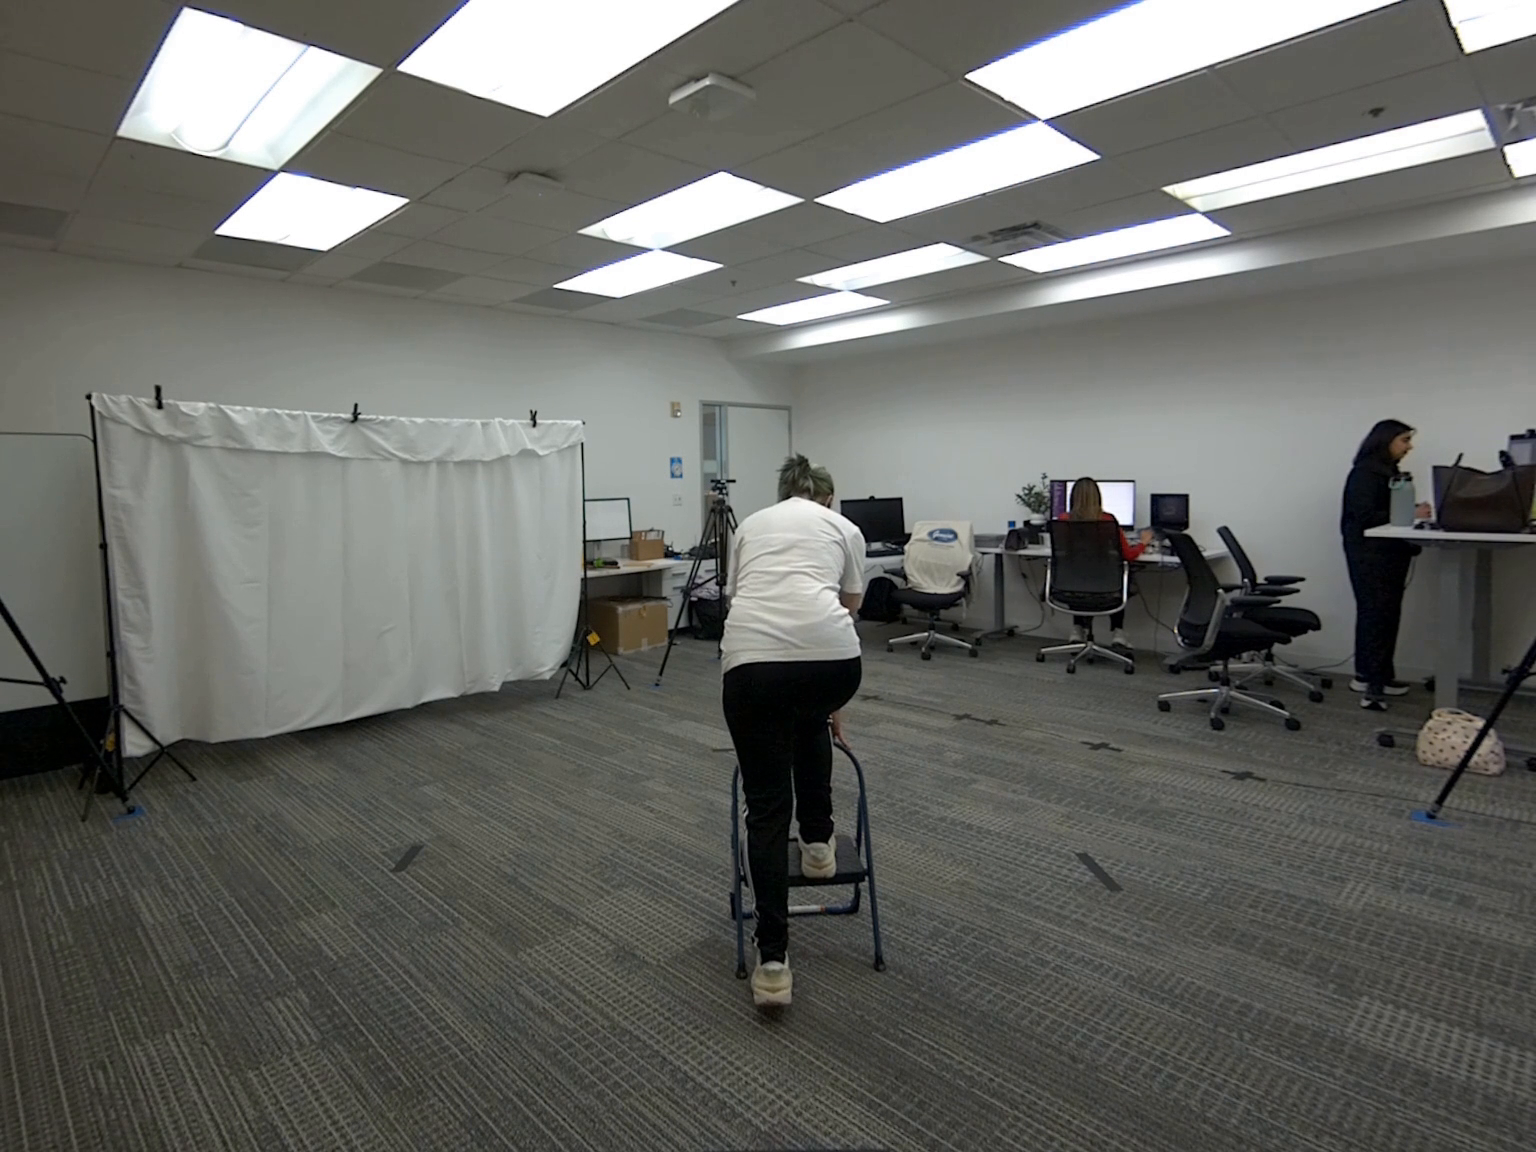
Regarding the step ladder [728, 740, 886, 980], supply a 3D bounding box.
[{"bbox_3d":[0.105,0.809,2.566,0.429,0.604,0.352,-2,4,-4],"label":"step ladder"}]
